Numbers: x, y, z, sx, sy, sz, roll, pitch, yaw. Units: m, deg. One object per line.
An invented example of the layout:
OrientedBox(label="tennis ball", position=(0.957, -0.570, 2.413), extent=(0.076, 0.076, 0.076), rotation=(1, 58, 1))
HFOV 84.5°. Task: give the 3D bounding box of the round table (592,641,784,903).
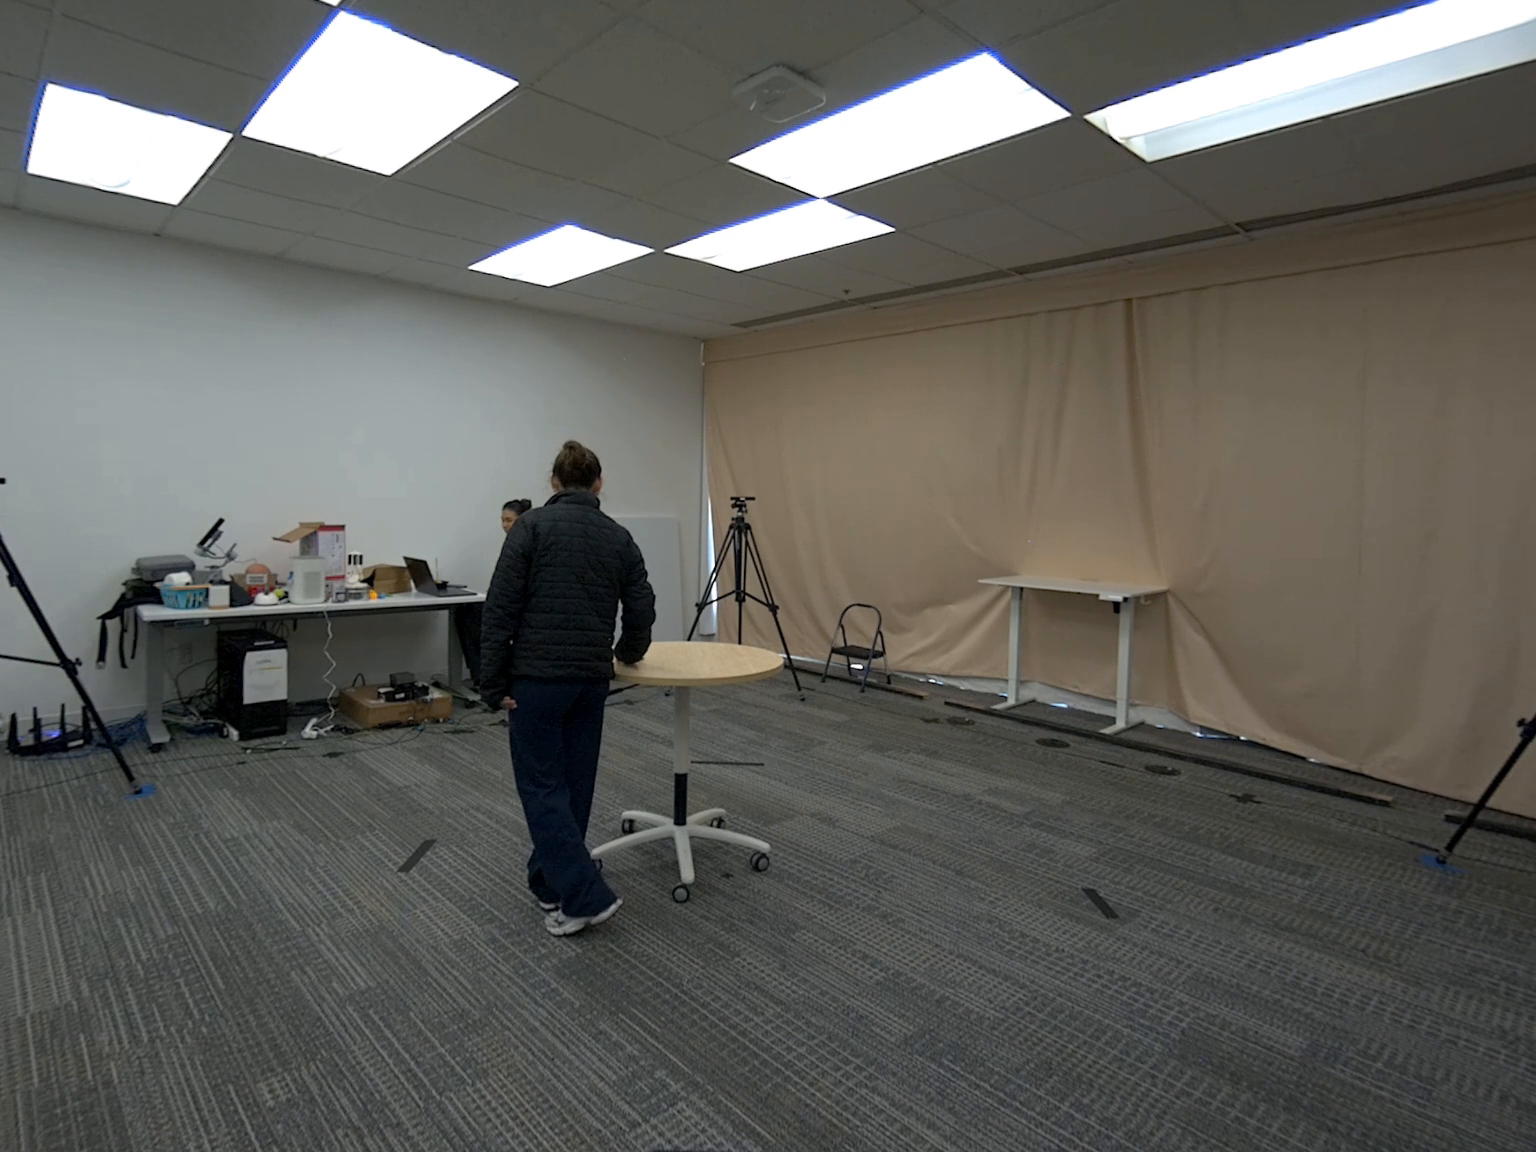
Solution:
OrientedBox(label="round table", position=(-0.325, 0.700, 3.212), extent=(0.784, 0.785, 0.787), rotation=(1, 4, -1))
